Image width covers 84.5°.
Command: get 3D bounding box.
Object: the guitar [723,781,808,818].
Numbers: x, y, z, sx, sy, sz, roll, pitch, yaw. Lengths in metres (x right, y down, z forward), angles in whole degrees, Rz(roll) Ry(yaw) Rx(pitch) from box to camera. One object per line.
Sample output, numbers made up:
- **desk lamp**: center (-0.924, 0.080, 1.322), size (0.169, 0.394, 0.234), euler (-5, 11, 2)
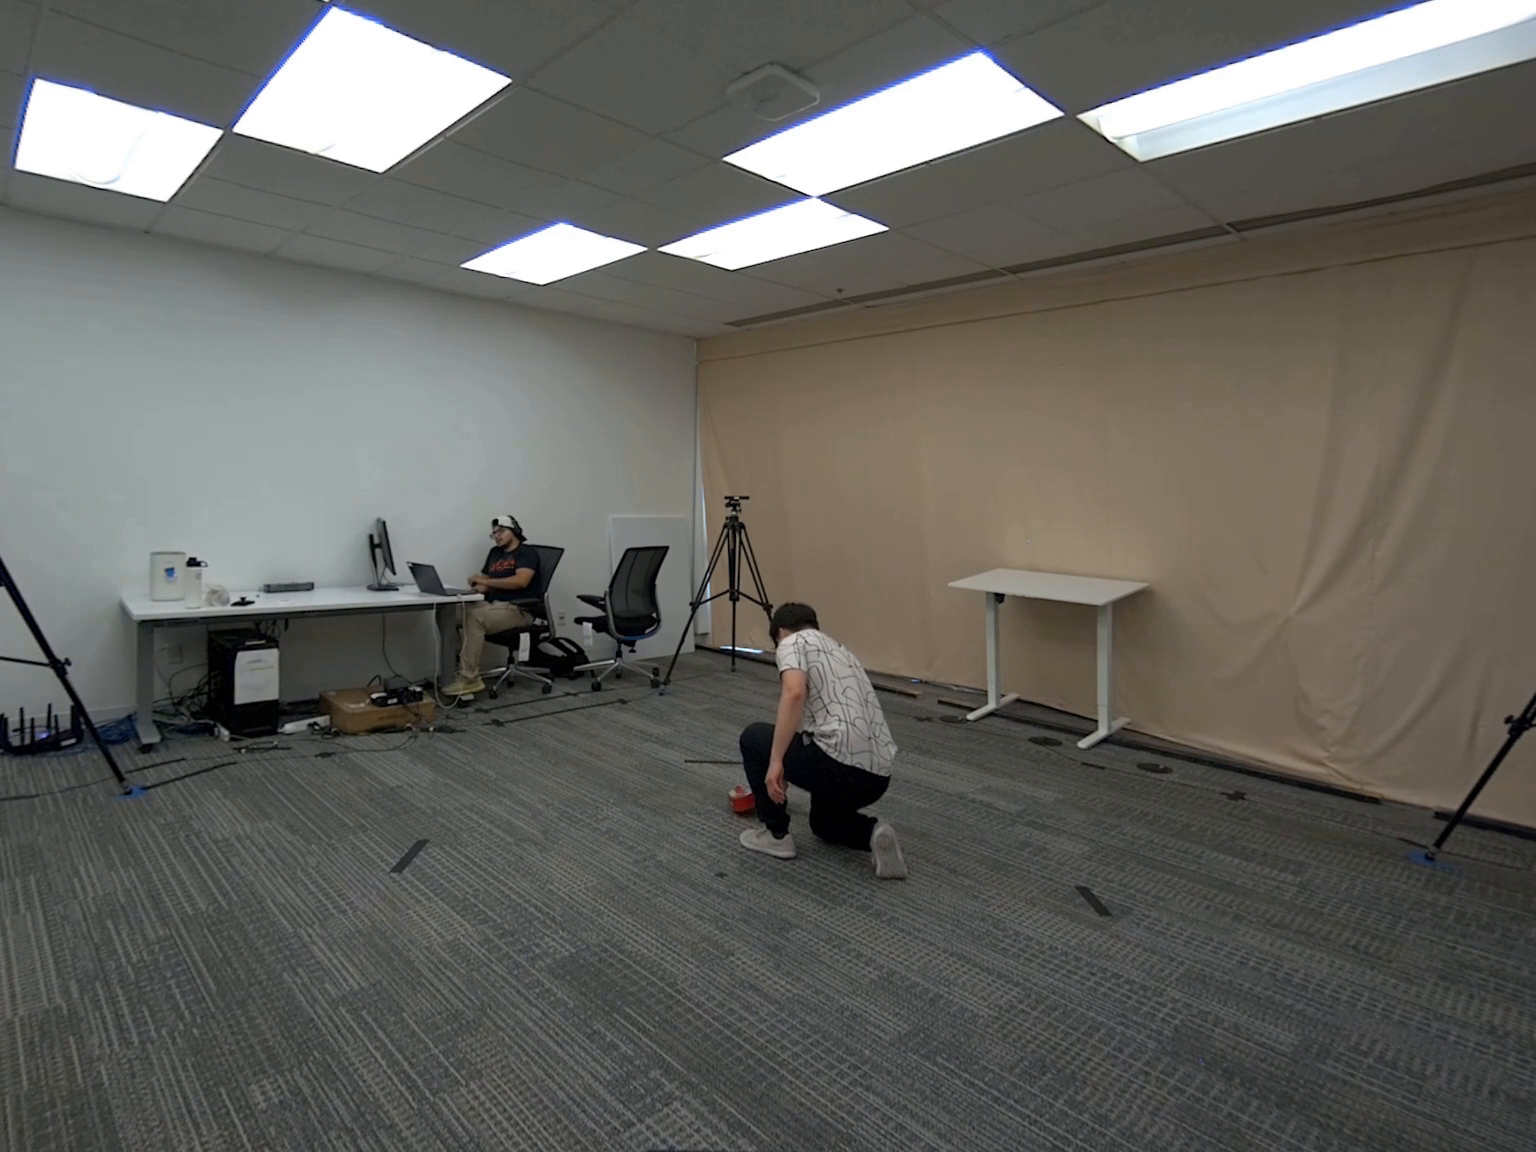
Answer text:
- **guitar**: center (0.049, 0.932, 3.754), size (0.498, 0.070, 0.193), euler (-17, 3, 0)
